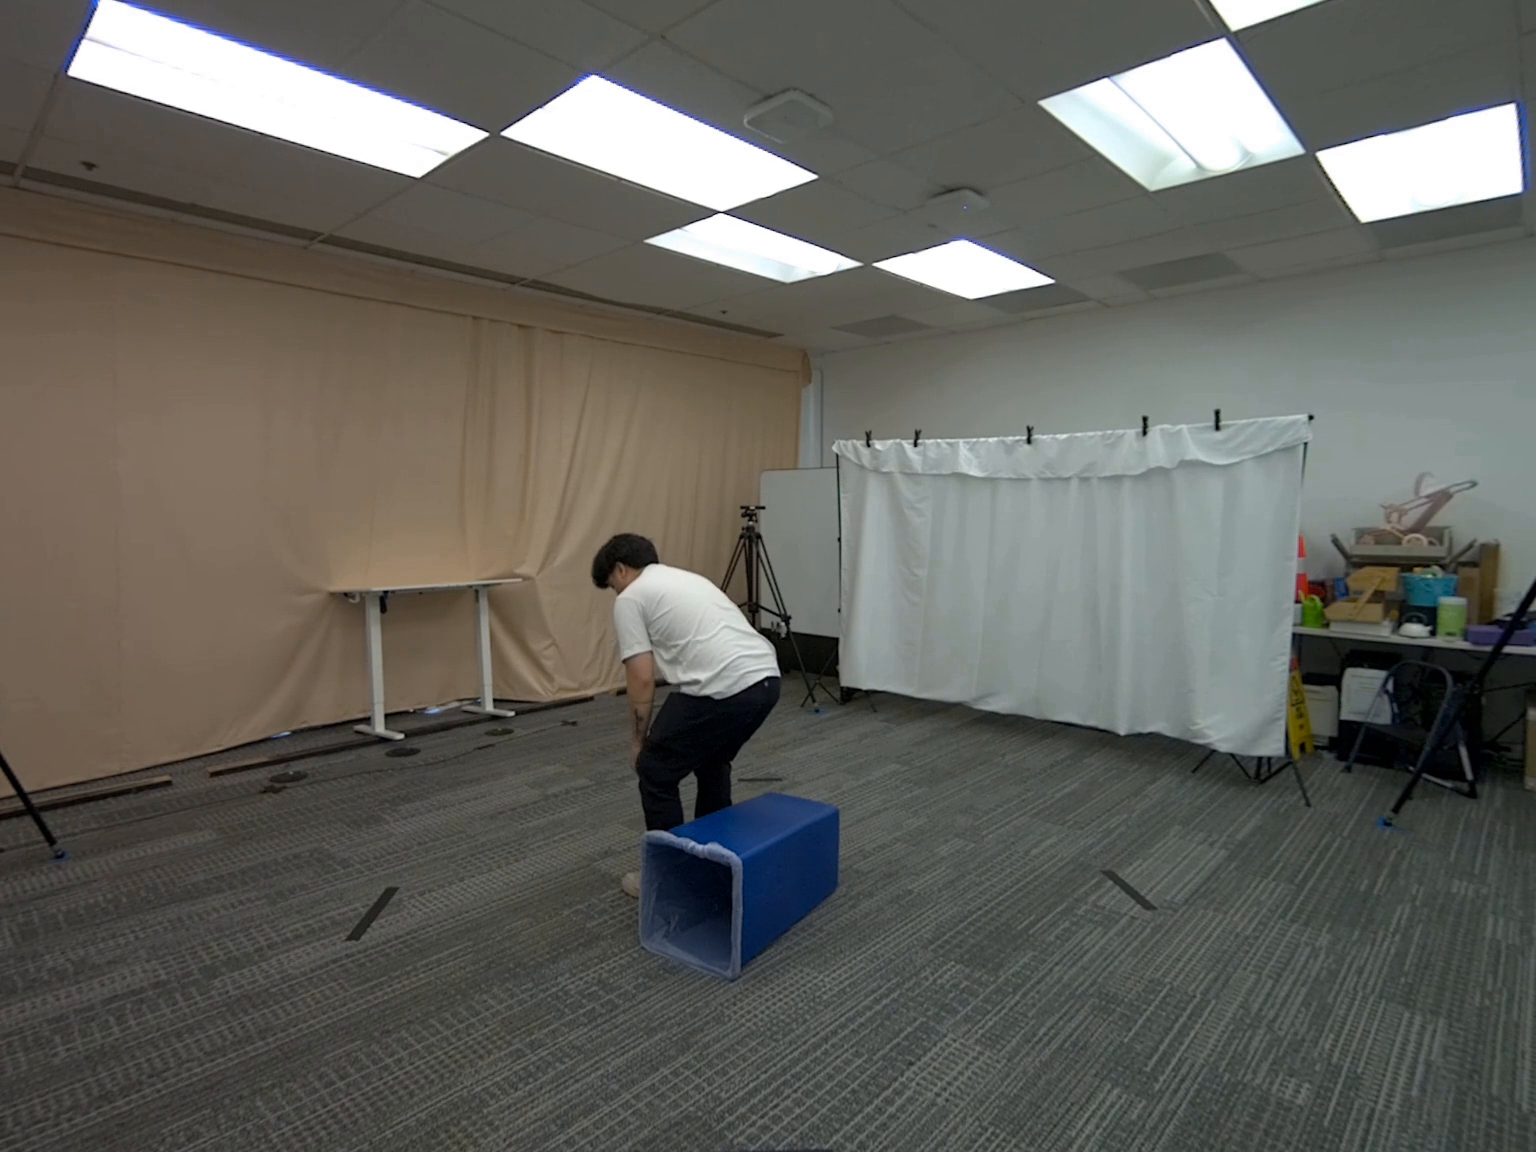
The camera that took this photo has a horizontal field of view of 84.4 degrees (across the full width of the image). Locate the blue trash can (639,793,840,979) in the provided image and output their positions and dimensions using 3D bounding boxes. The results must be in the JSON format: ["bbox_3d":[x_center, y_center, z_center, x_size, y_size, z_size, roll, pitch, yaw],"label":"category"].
[{"bbox_3d":[-0.050,0.994,2.839,0.389,0.374,0.692,1,1,33],"label":"blue trash can"}]
